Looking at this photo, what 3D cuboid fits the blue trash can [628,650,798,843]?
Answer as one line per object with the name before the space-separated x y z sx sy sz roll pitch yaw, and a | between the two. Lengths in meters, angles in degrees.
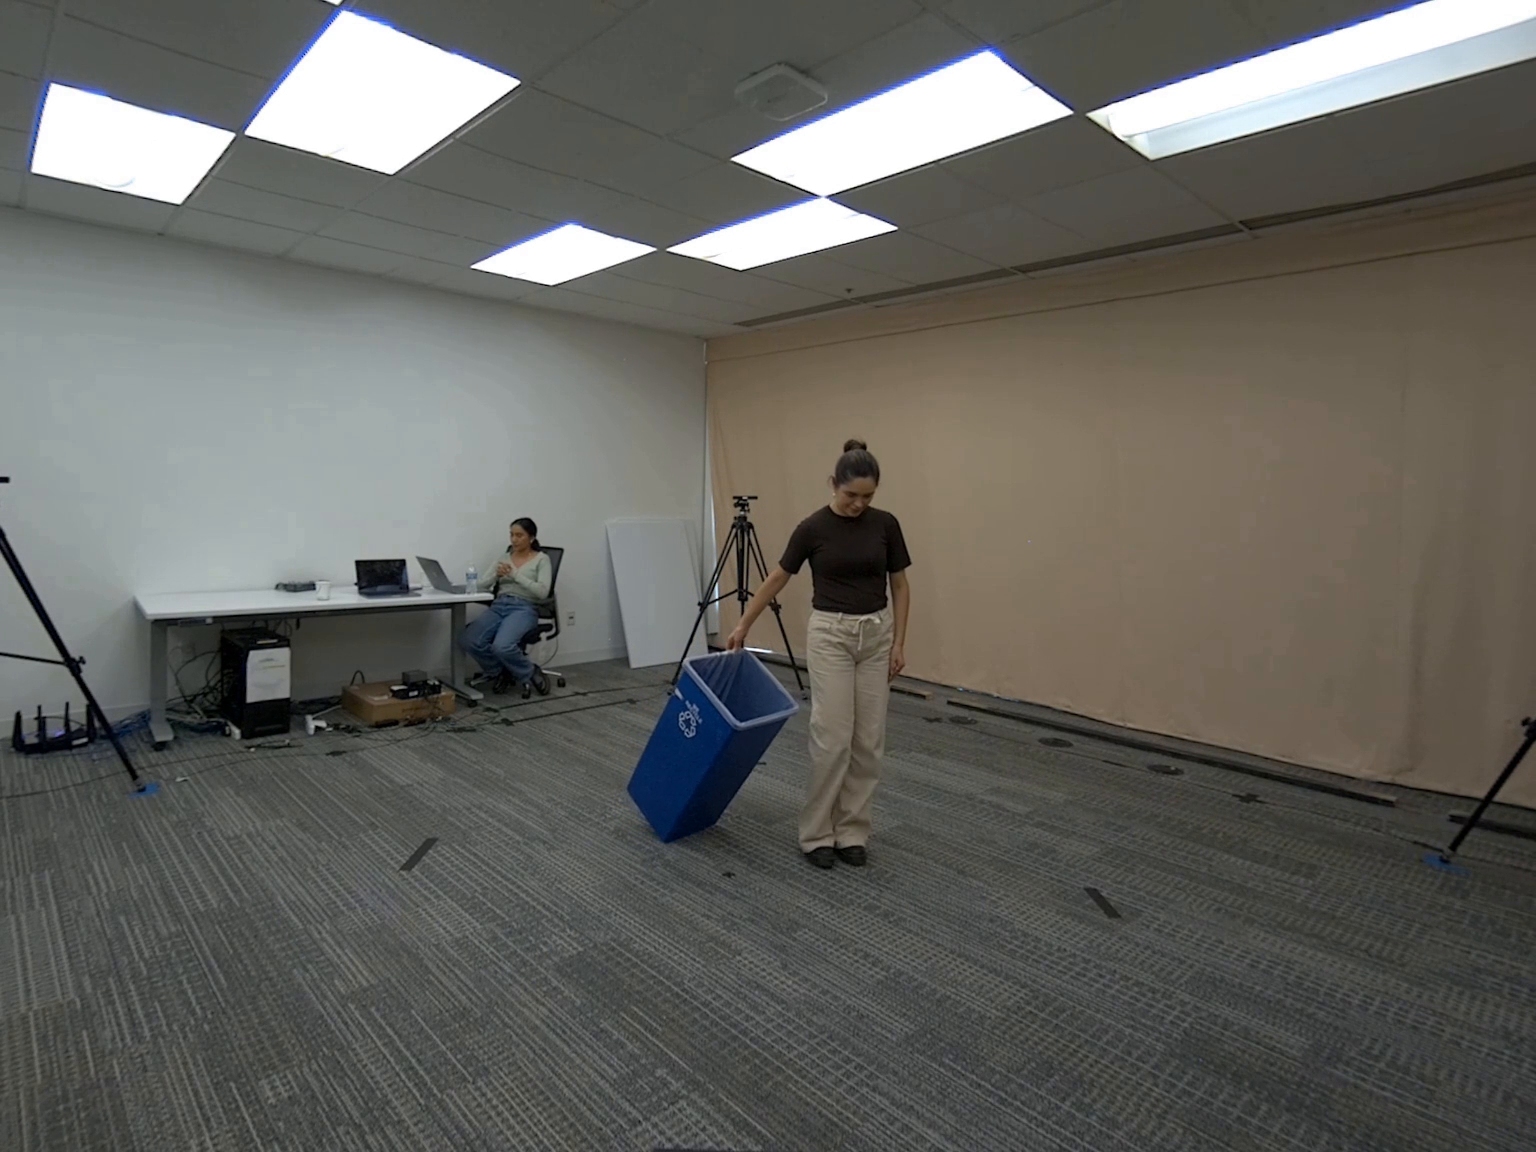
blue trash can | -0.256 0.698 3.397 0.369 0.708 0.385 -4 40 -47
